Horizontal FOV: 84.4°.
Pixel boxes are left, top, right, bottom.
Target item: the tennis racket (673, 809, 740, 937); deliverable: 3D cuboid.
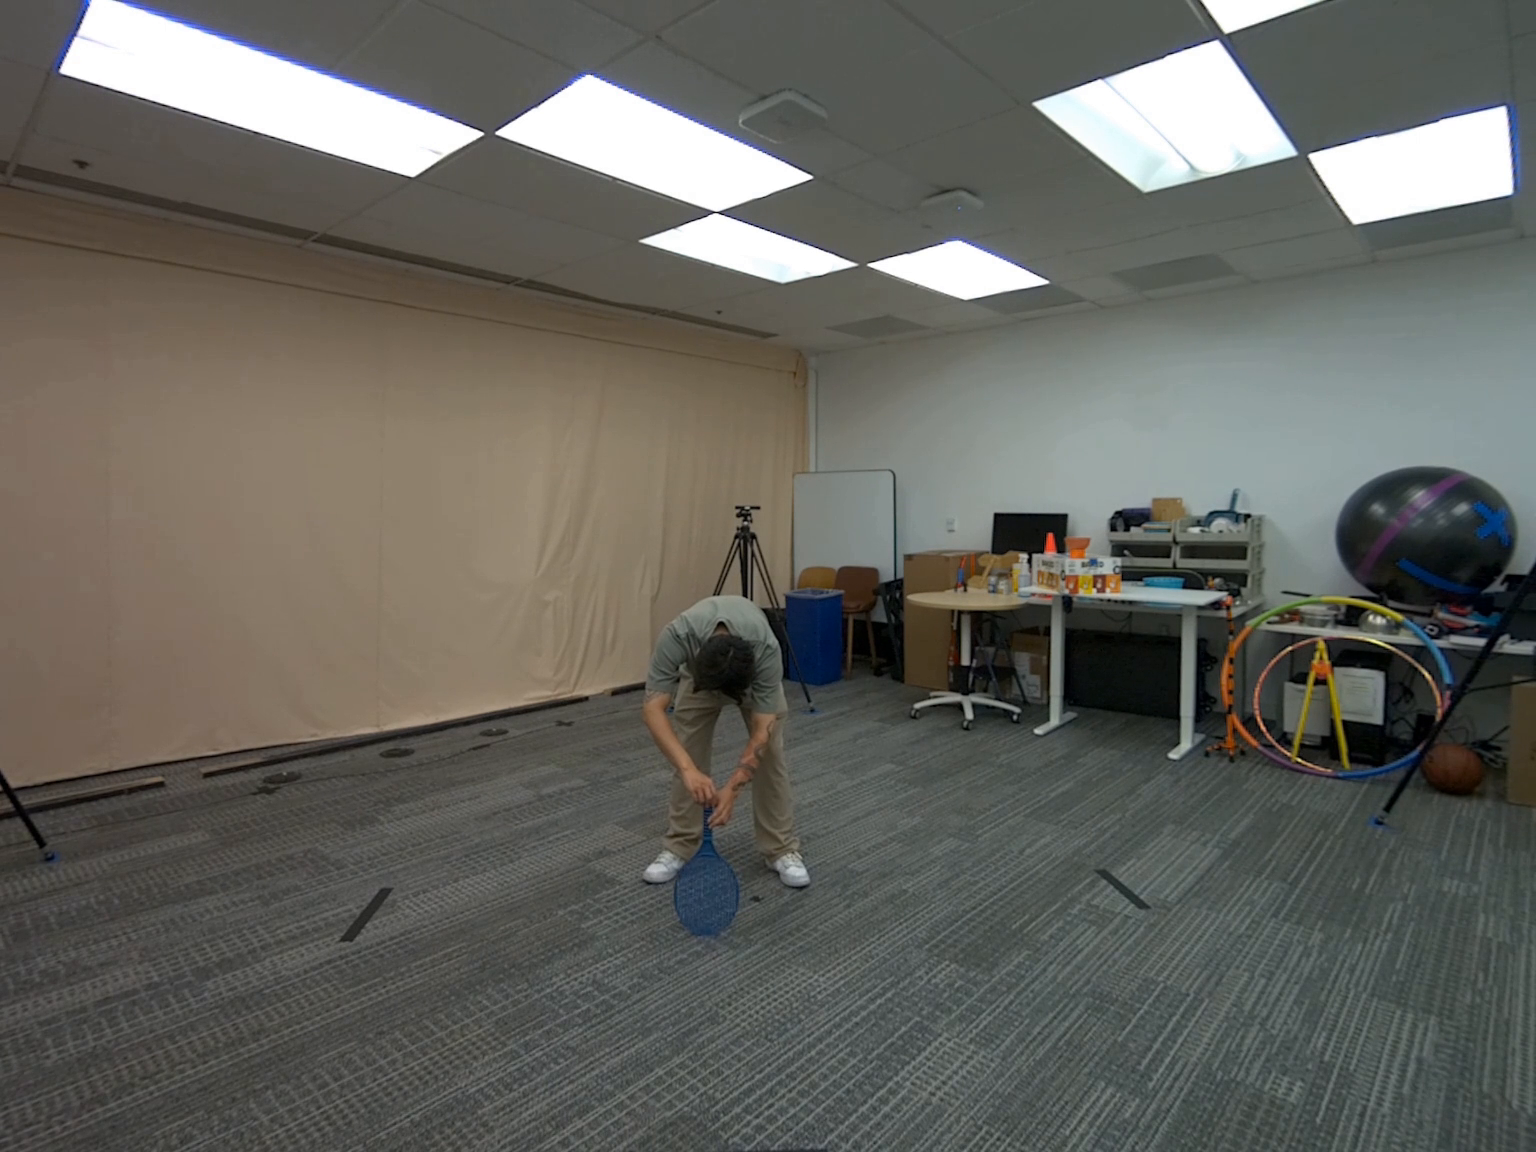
[{"bbox_3d":[-0.202,0.956,2.728,0.215,0.433,0.031,-5,0,5],"label":"tennis racket"}]
